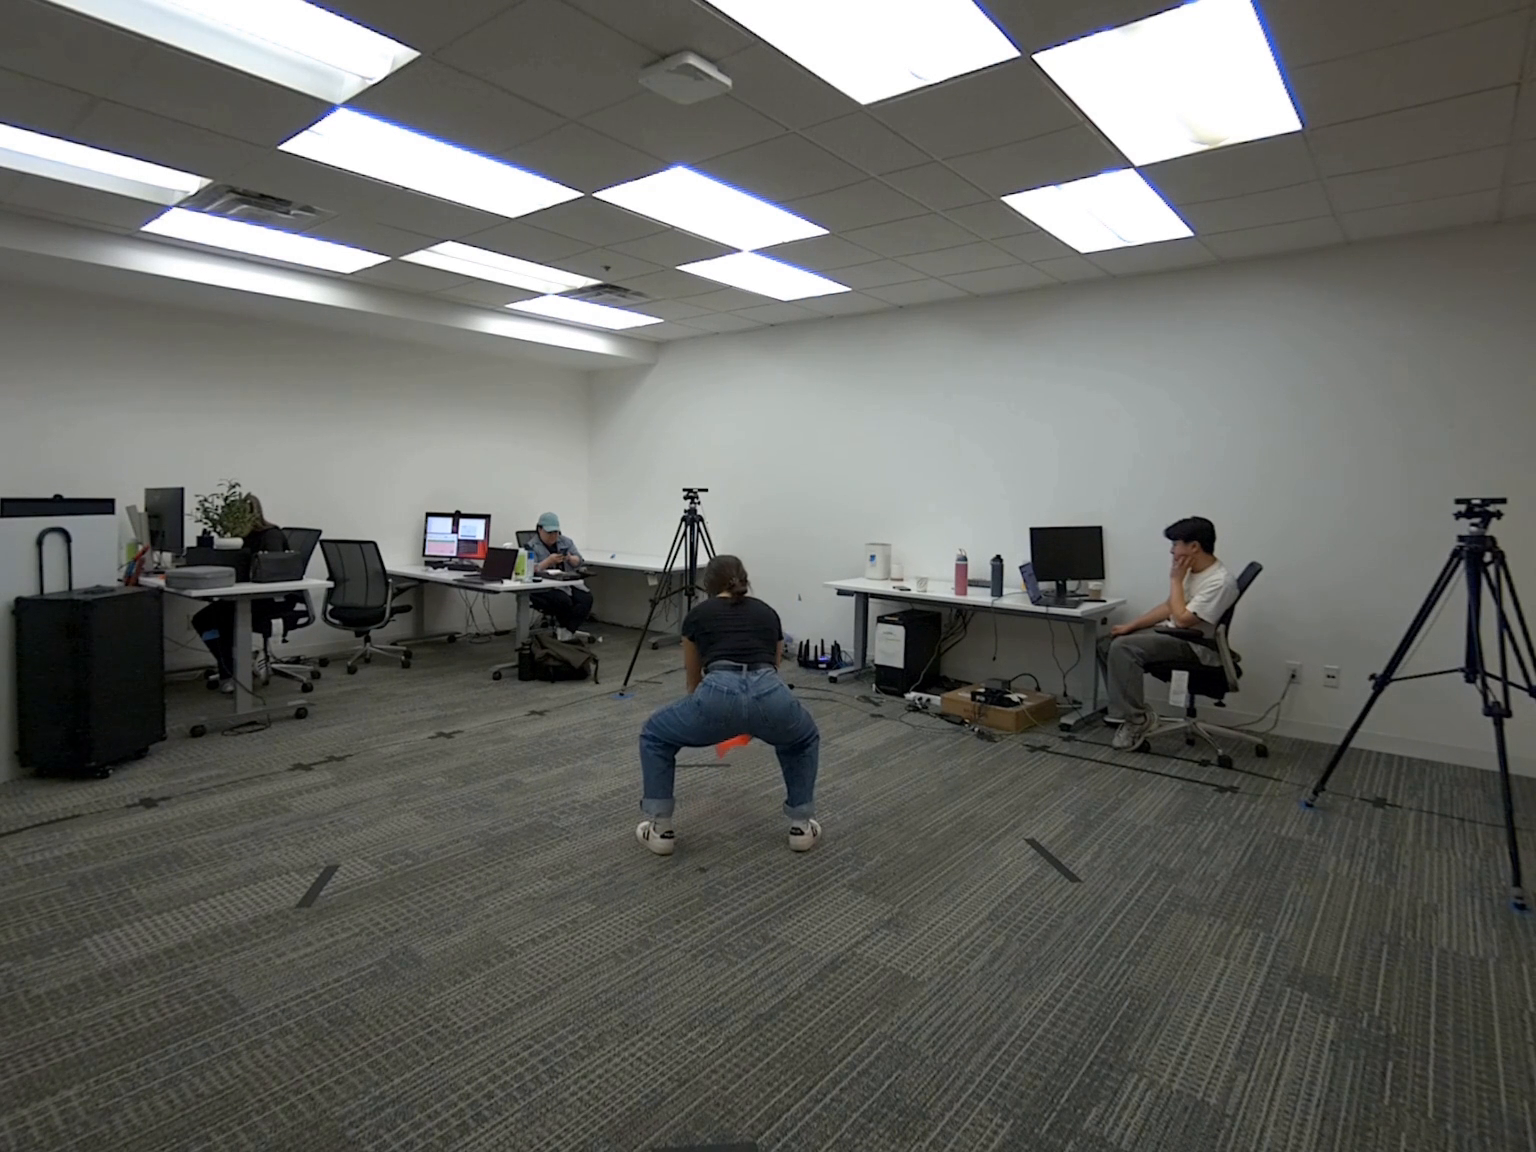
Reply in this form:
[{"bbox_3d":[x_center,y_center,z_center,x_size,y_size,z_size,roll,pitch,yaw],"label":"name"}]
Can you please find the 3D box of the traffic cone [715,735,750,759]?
[{"bbox_3d":[-0.199,0.732,3.879,0.202,0.210,0.375,3,-33,-6],"label":"traffic cone"}]
